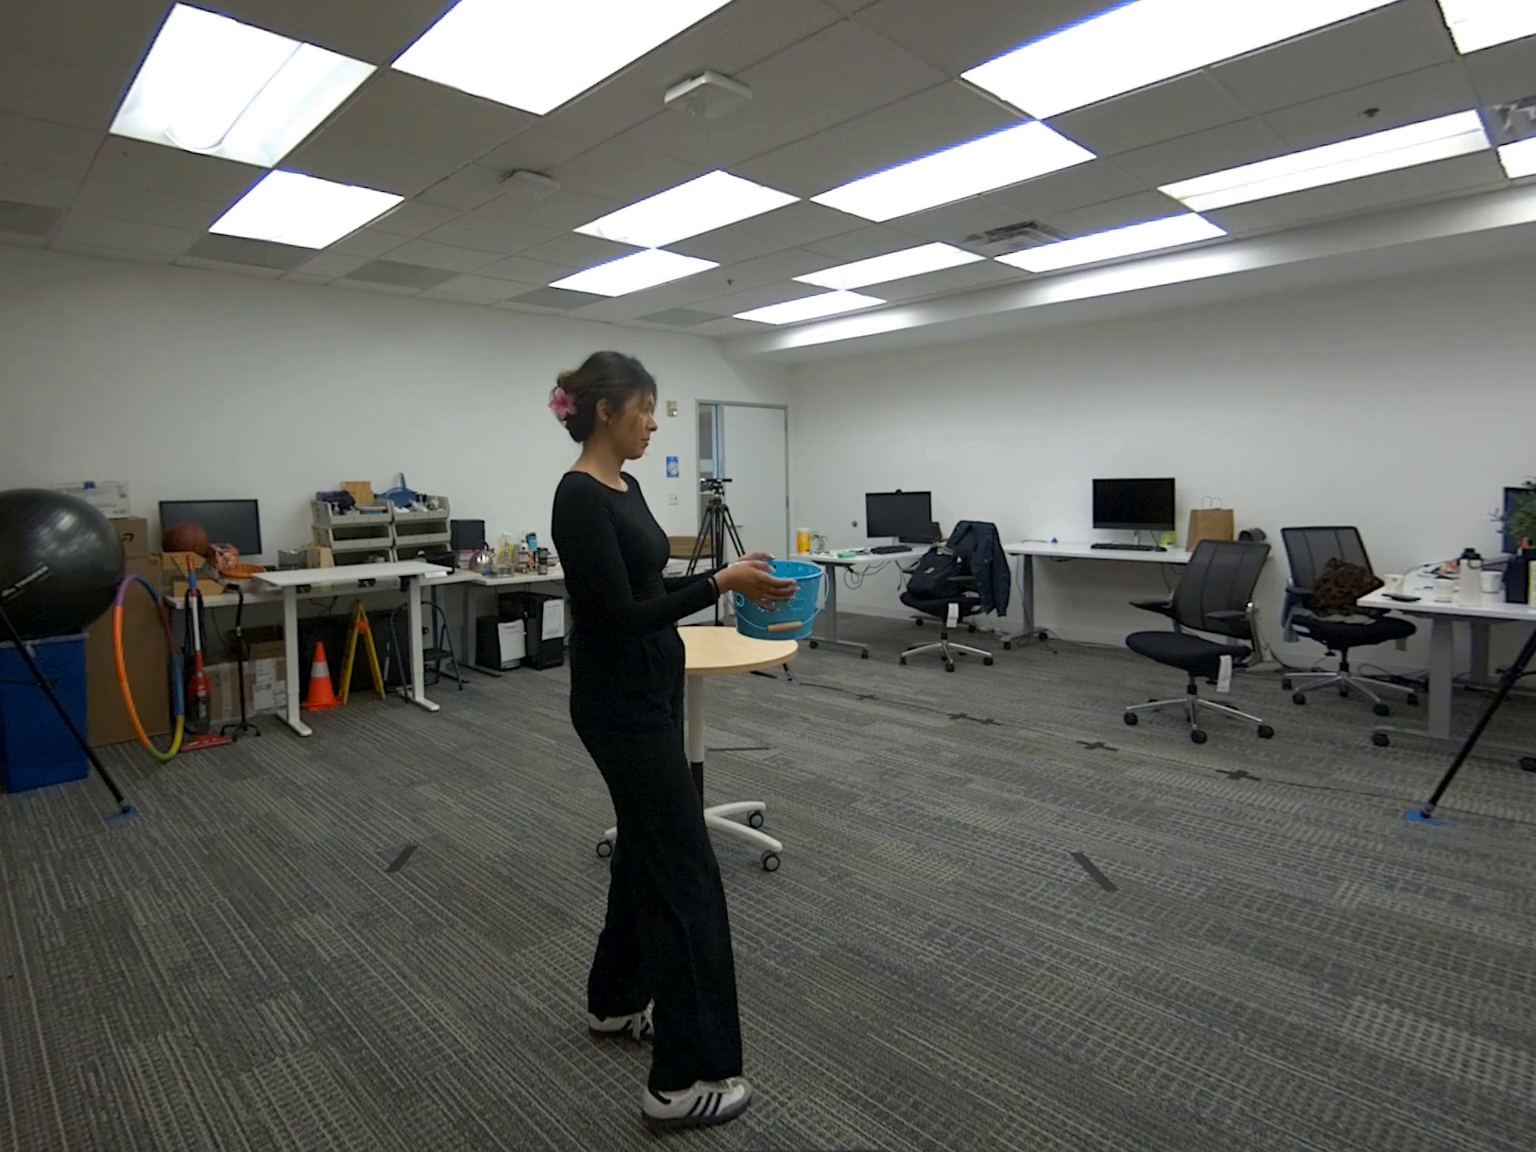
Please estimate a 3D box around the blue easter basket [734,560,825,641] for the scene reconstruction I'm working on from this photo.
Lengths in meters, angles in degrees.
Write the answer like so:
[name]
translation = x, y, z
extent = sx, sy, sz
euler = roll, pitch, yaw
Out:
[blue easter basket]
translation = 0.007, 0.059, 2.035
extent = 0.243, 0.154, 0.246
euler = -1, 10, -1
